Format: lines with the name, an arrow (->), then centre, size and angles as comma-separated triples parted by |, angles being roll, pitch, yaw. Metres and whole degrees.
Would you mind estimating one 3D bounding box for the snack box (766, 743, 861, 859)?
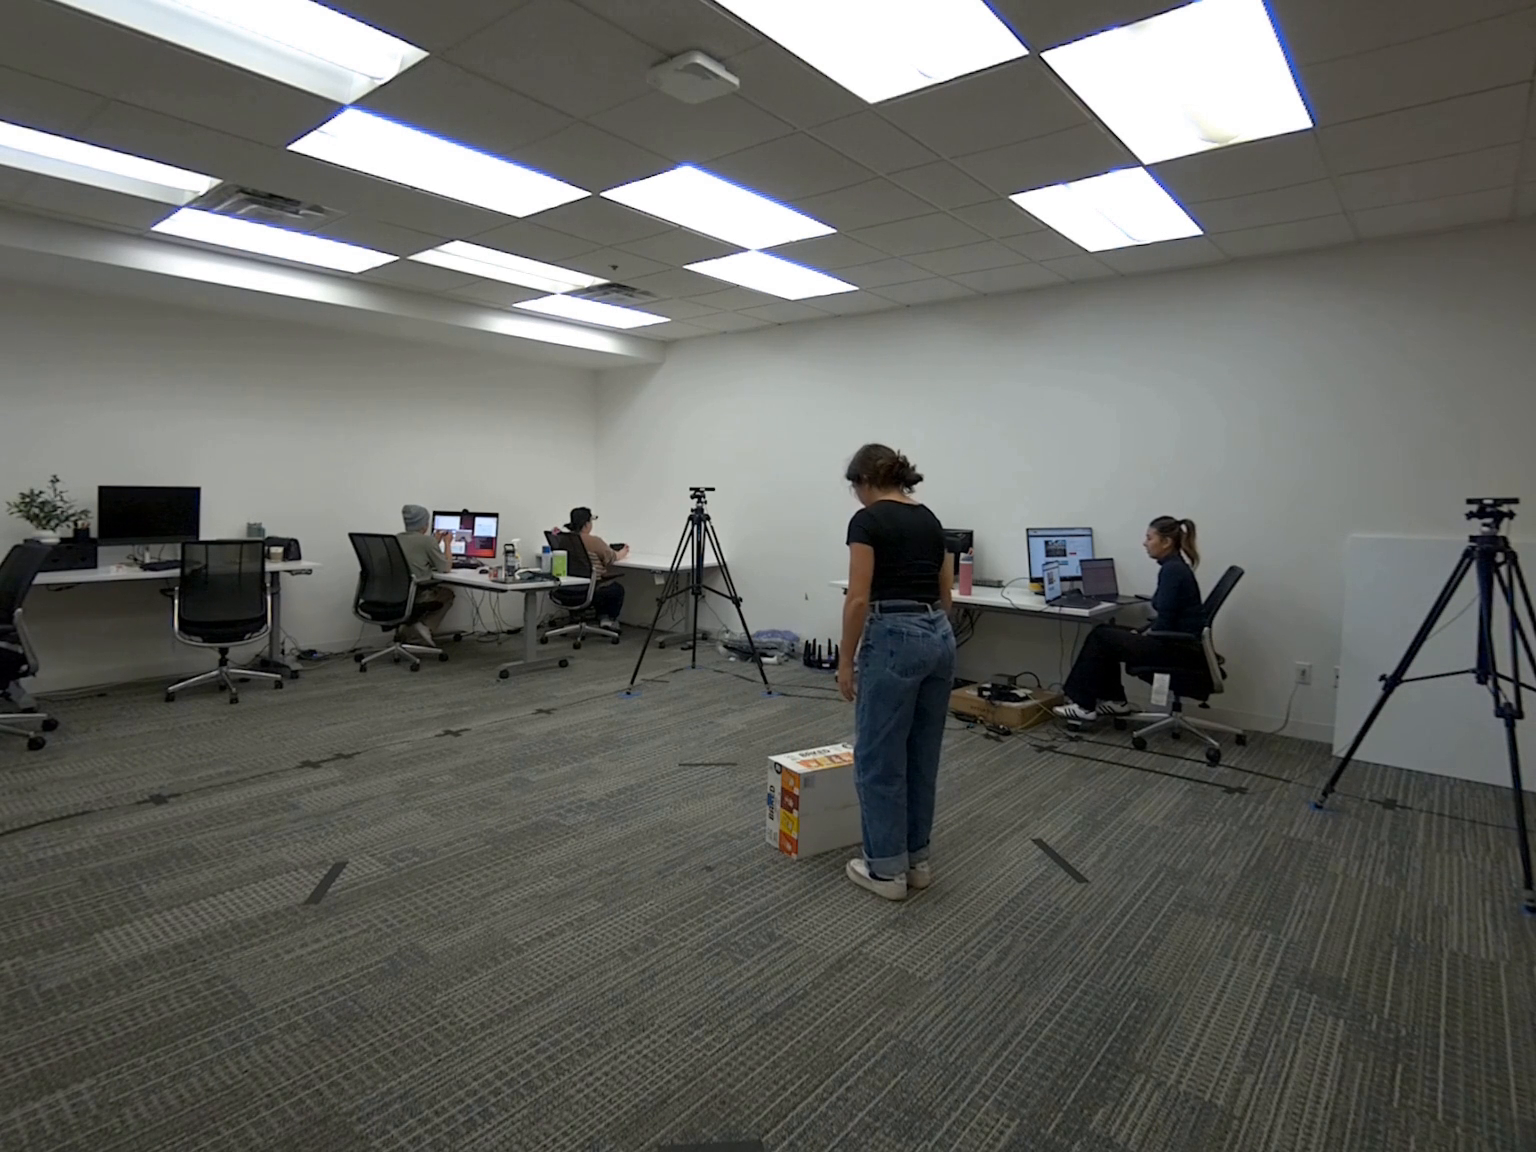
snack box -> 0.206, 0.881, 3.372 | 0.393, 0.339, 0.212 | -2, 6, -34
